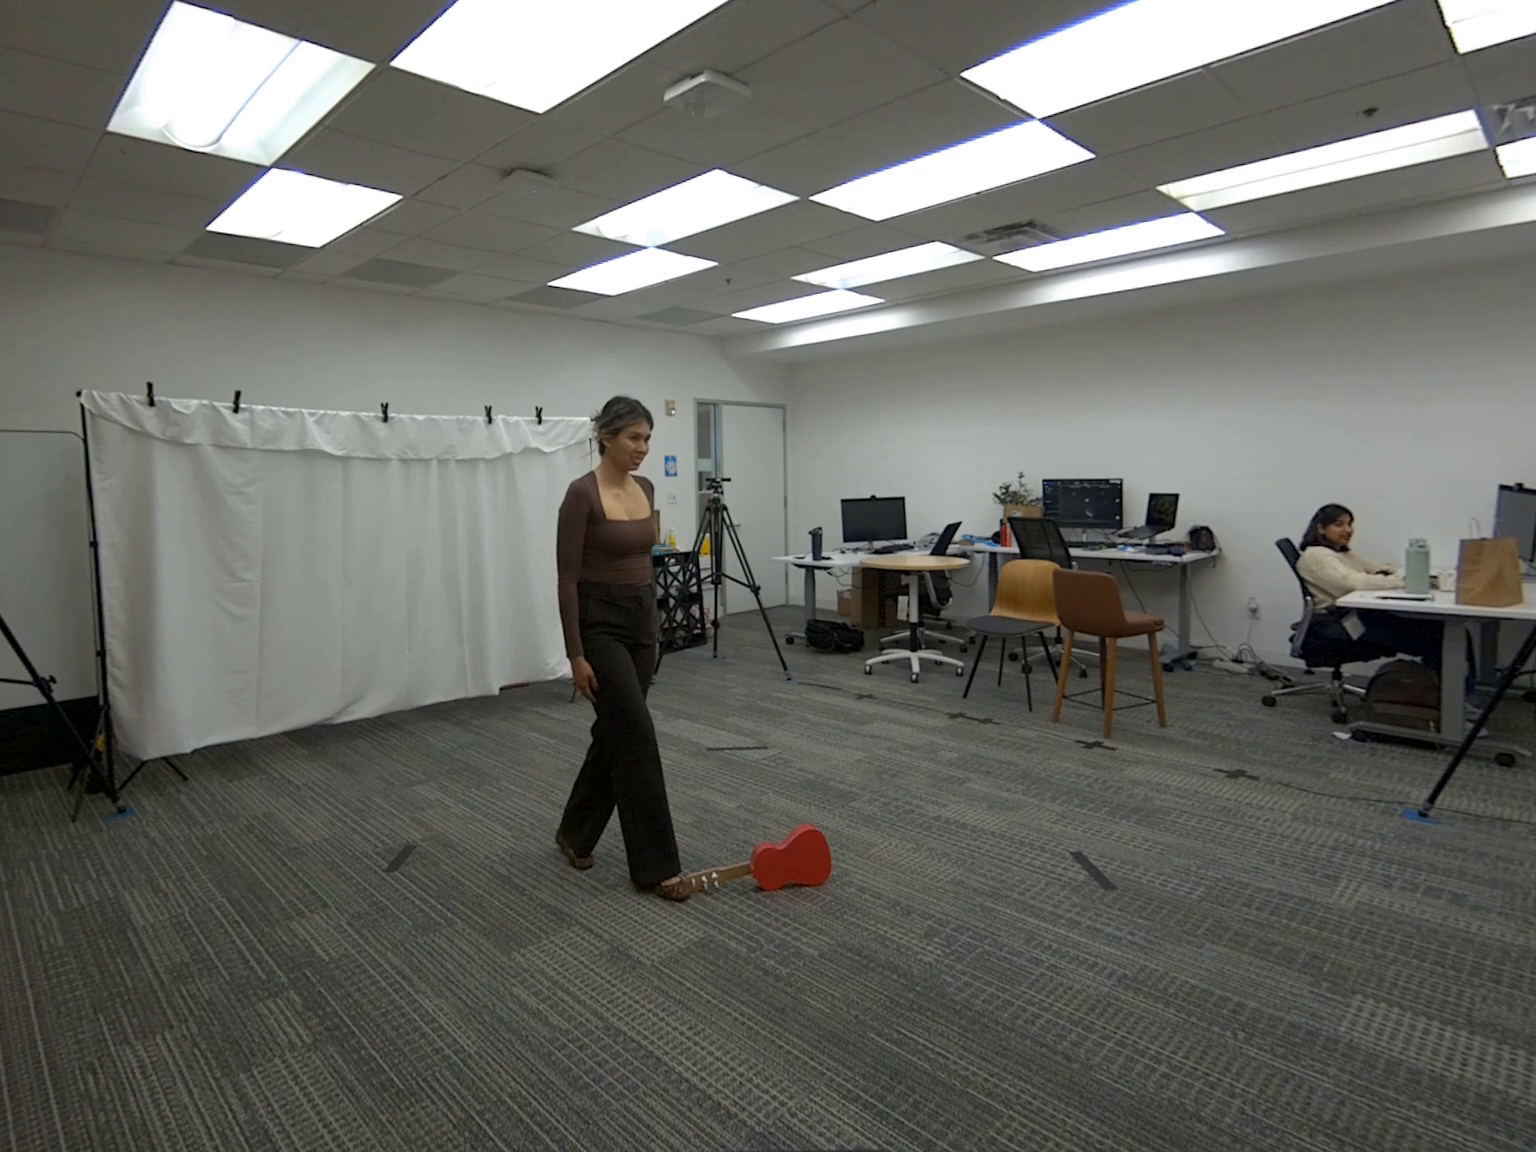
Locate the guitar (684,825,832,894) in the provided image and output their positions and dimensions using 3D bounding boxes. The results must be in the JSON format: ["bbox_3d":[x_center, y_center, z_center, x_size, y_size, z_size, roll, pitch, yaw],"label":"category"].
[{"bbox_3d":[-0.020,1.016,2.912,0.495,0.192,0.071,-21,4,-9],"label":"guitar"}]
